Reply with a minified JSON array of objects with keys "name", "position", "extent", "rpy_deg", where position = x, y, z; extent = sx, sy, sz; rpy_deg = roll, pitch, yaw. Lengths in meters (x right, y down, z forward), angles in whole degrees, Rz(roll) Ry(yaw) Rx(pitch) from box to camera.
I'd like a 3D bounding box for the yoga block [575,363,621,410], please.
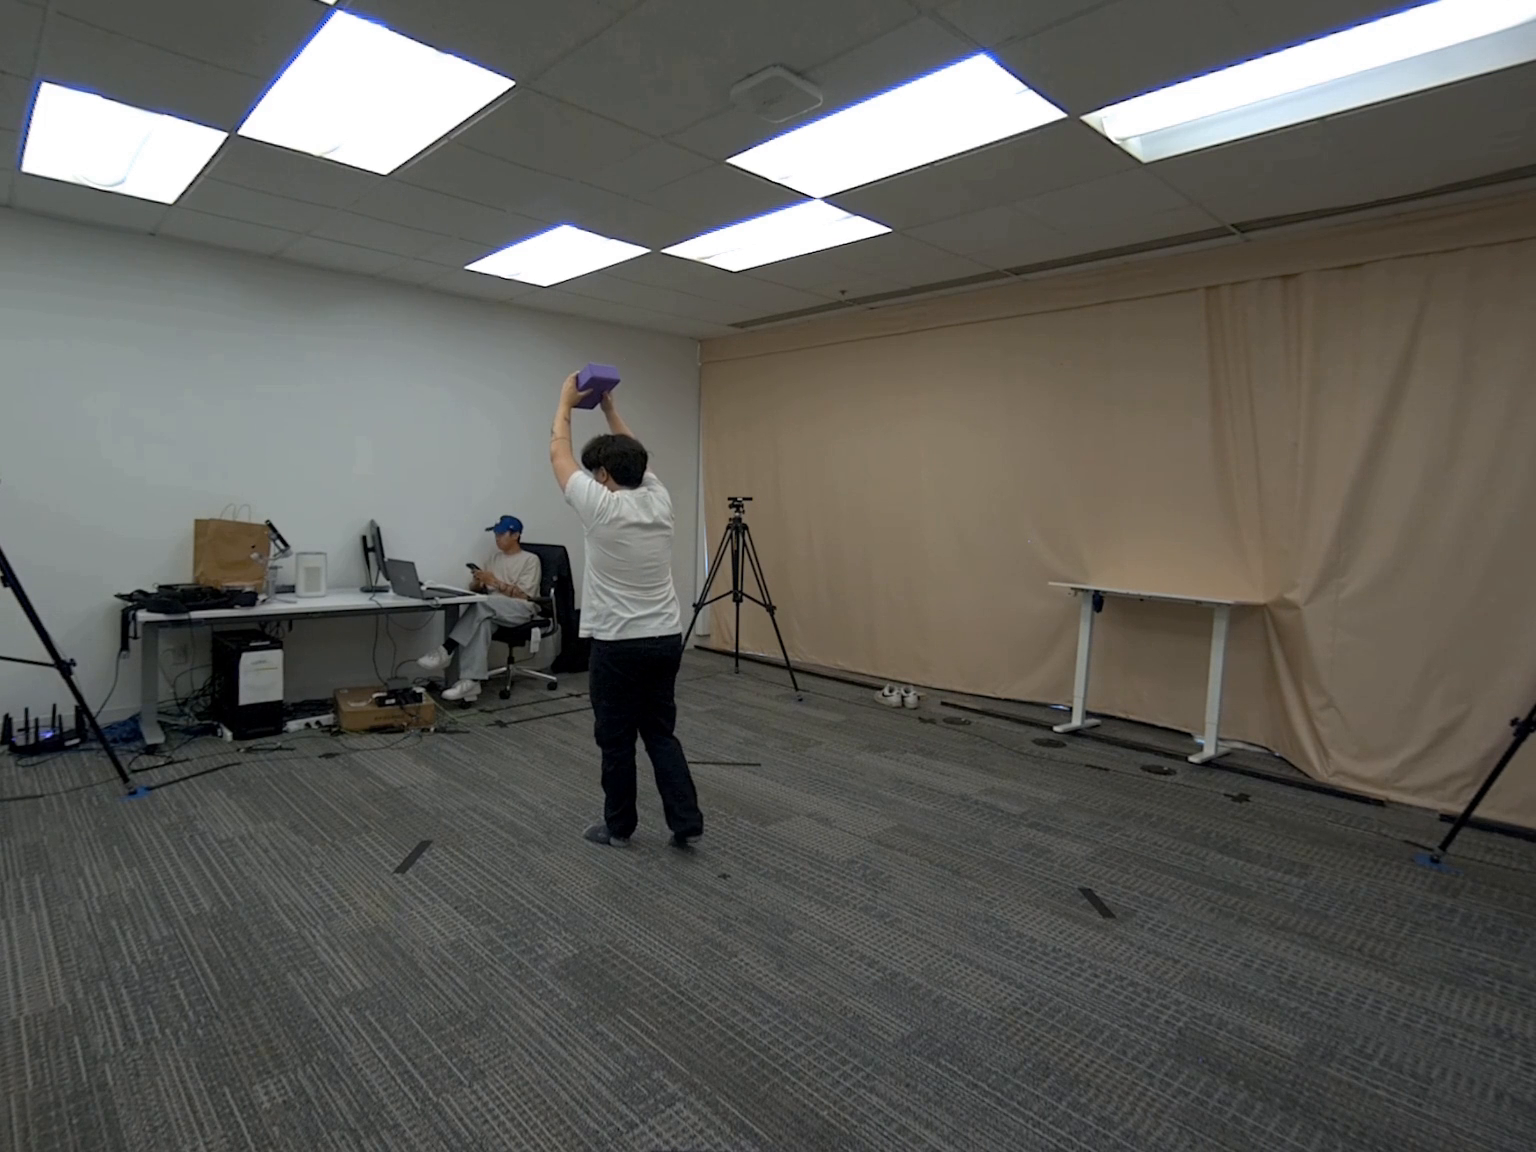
[{"name":"yoga block","position":[-0.729,-0.778,3.468],"extent":[0.145,0.077,0.231],"rpy_deg":[-3,-21,-47]}]
